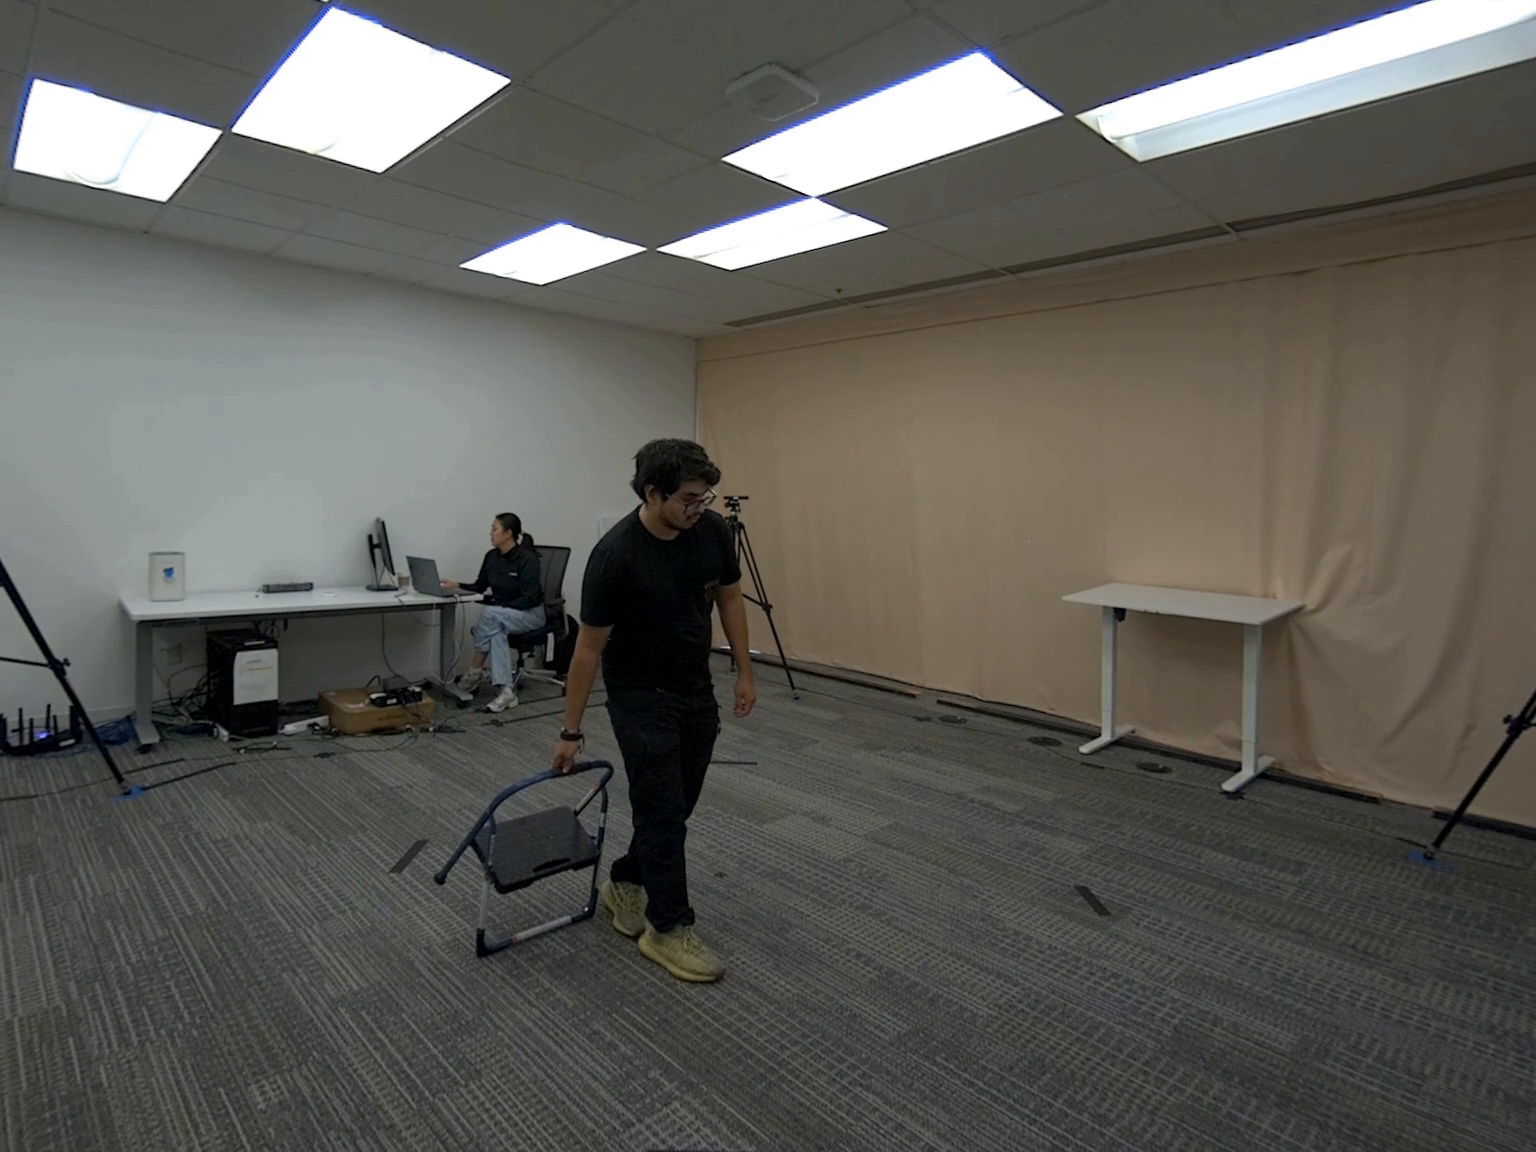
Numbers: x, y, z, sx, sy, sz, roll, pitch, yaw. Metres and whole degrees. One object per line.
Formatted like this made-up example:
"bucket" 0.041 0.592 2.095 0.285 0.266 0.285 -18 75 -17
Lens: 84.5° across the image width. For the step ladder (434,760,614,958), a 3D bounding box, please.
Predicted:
"step ladder" -0.727 0.787 2.636 0.421 0.600 0.360 -4 33 -44
